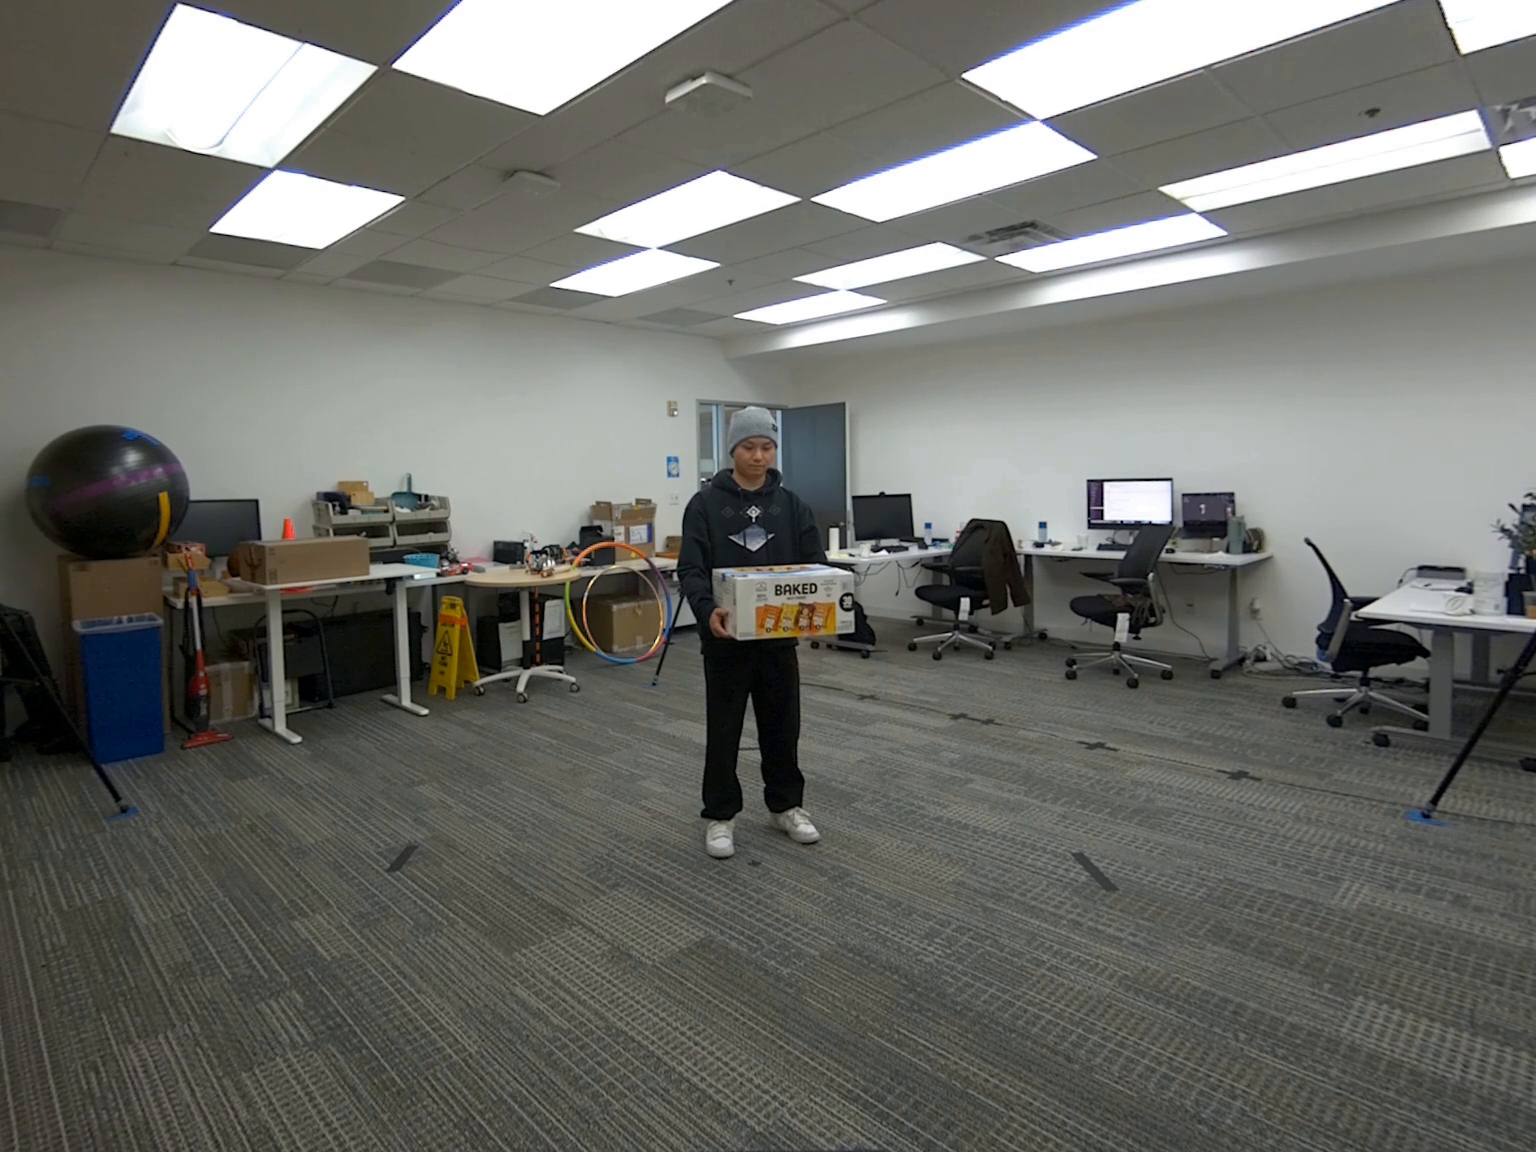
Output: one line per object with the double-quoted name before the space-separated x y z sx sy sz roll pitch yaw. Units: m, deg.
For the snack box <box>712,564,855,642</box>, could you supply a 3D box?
"snack box" 0.044 0.085 2.942 0.400 0.205 0.346 -3 5 -14
